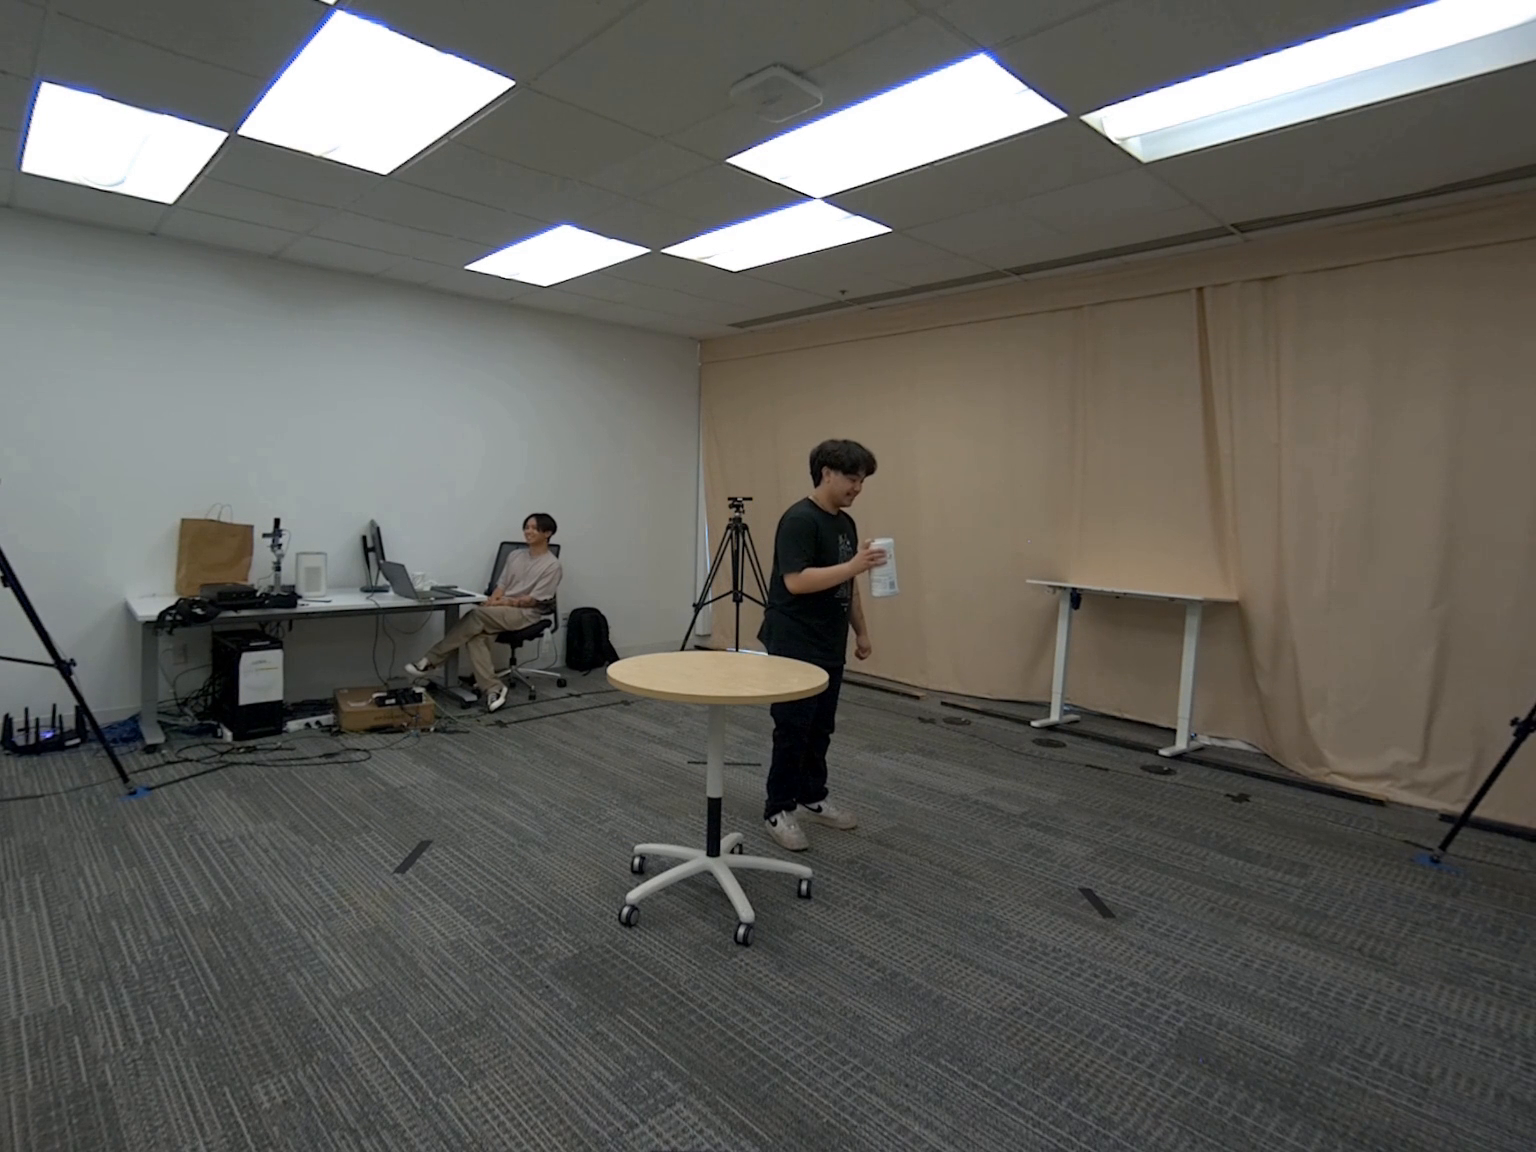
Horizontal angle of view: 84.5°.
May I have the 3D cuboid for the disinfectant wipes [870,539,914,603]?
[{"bbox_3d":[0.474,-0.023,3.262,0.118,0.216,0.118,-8,5,-1],"label":"disinfectant wipes"}]
